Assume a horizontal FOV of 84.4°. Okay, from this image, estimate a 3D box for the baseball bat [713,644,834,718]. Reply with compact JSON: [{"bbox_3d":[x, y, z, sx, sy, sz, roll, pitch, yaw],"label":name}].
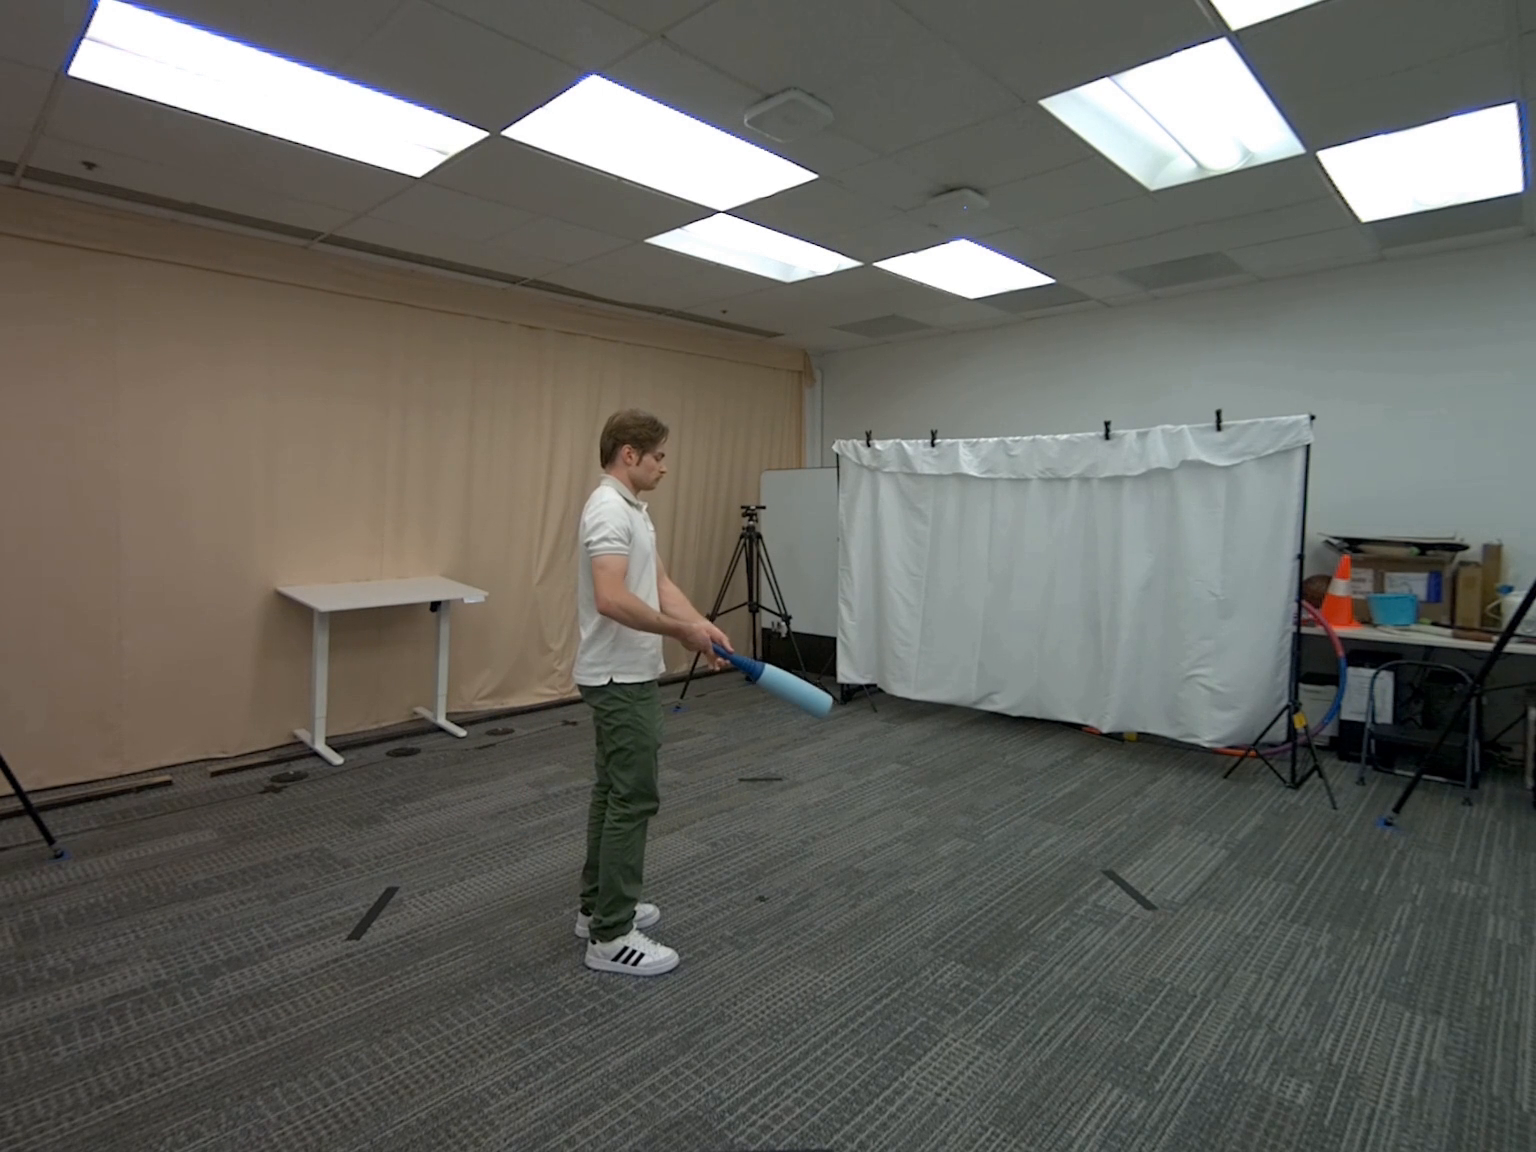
[{"bbox_3d":[-0.044,0.316,2.651,0.539,0.089,0.089,28,0,-5],"label":"baseball bat"}]
